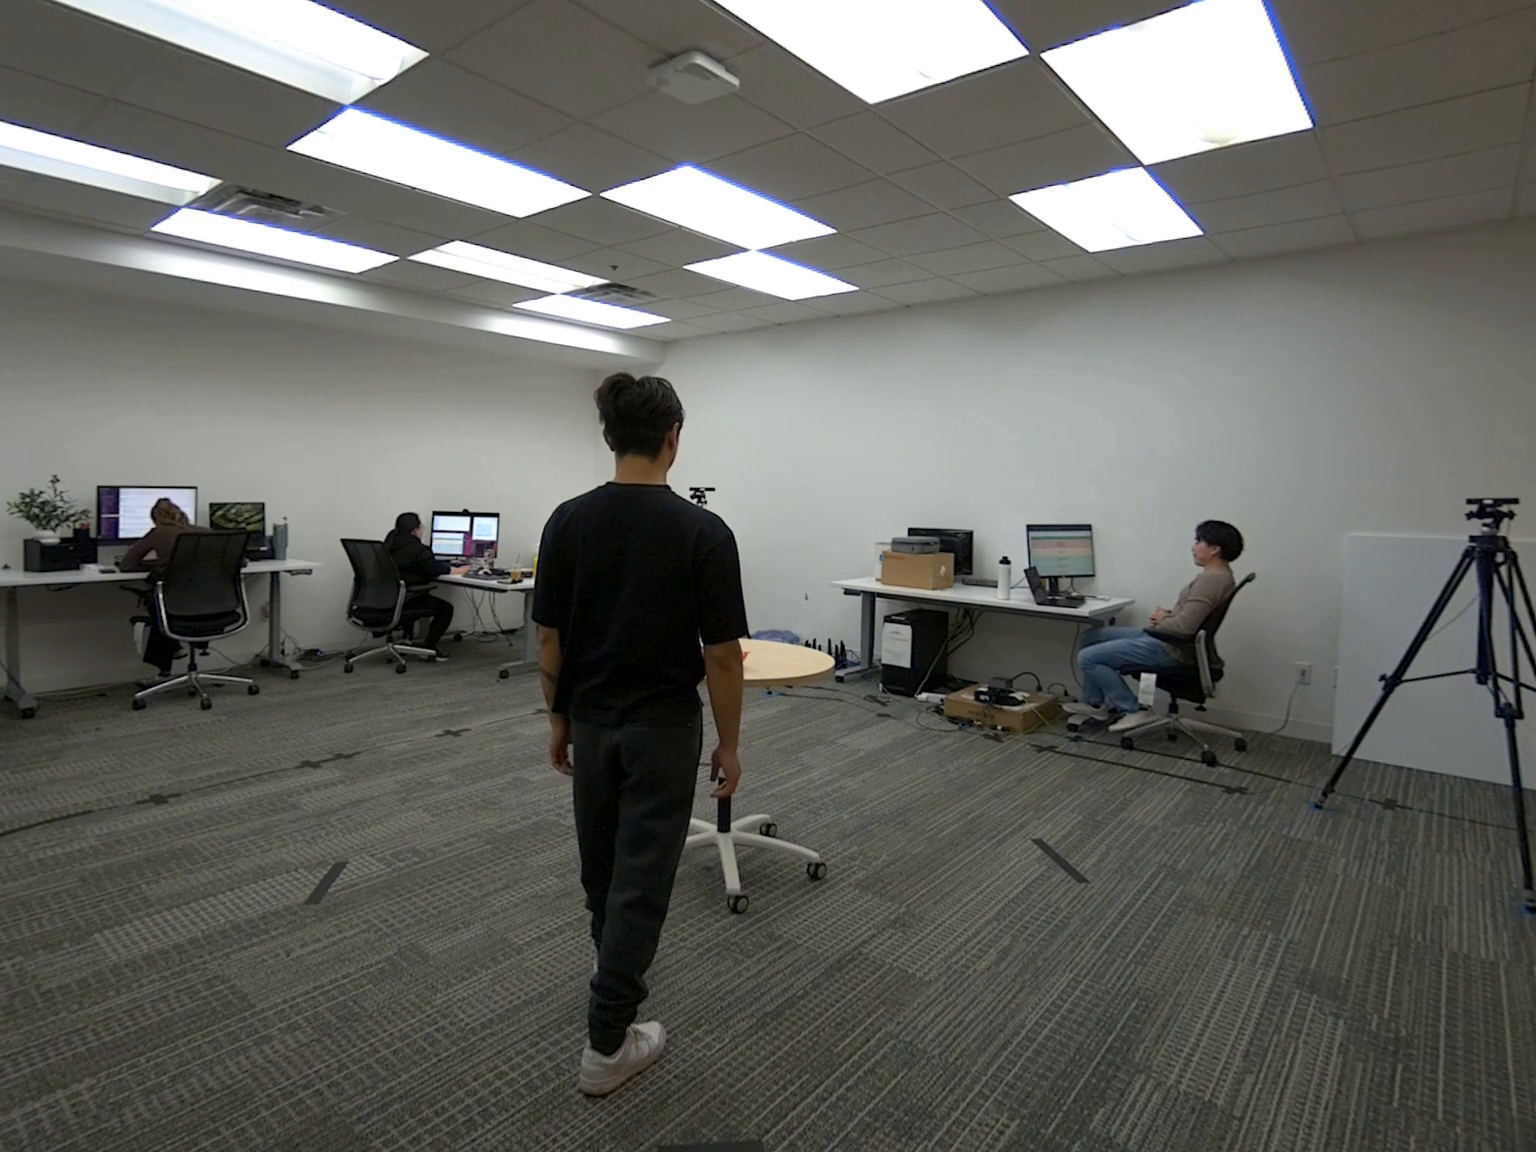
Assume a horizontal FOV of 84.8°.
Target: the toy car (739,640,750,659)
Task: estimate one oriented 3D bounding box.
[{"bbox_3d":[-0.201,0.271,2.880,0.259,0.083,0.128,-8,1,19],"label":"toy car"}]
